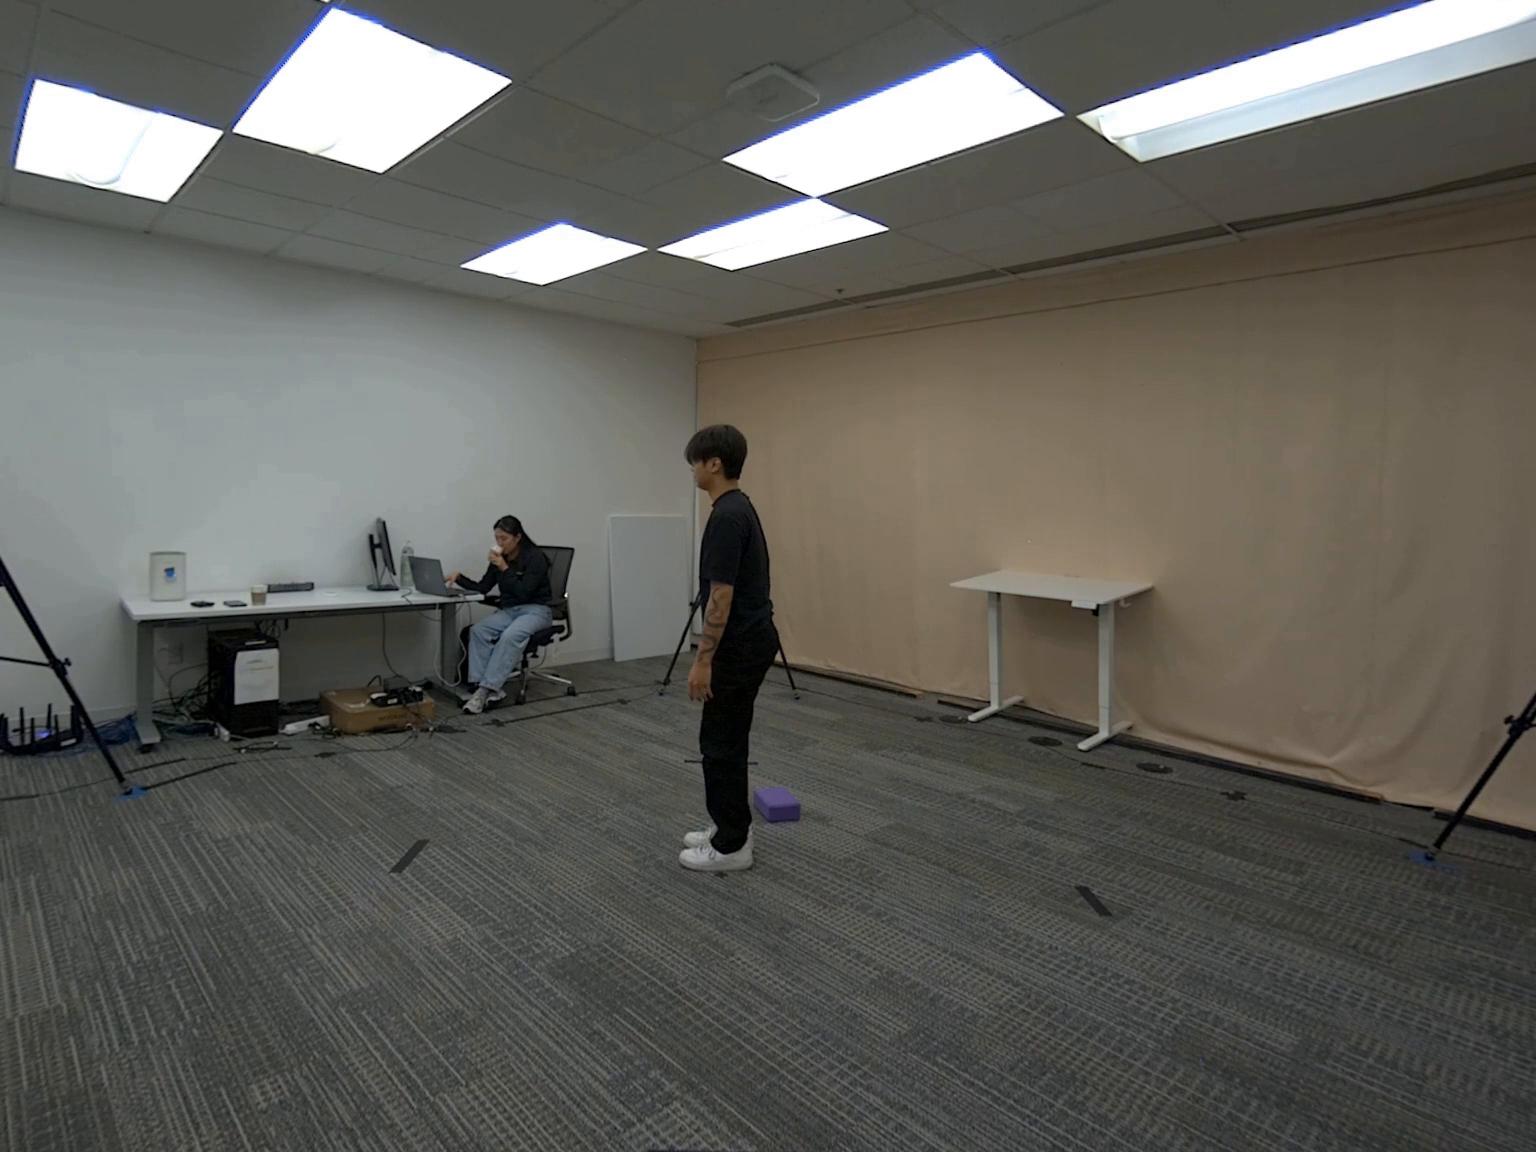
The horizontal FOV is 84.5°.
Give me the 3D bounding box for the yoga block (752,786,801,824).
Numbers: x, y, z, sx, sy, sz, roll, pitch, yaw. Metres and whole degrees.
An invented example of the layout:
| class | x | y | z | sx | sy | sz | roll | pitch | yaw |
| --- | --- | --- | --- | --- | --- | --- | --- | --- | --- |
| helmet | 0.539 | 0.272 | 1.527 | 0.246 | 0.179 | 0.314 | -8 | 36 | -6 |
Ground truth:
| class | x | y | z | sx | sy | sz | roll | pitch | yaw |
| --- | --- | --- | --- | --- | --- | --- | --- | --- | --- |
| yoga block | 0.028 | 1.013 | 3.746 | 0.147 | 0.076 | 0.233 | 0 | 6 | -17 |
